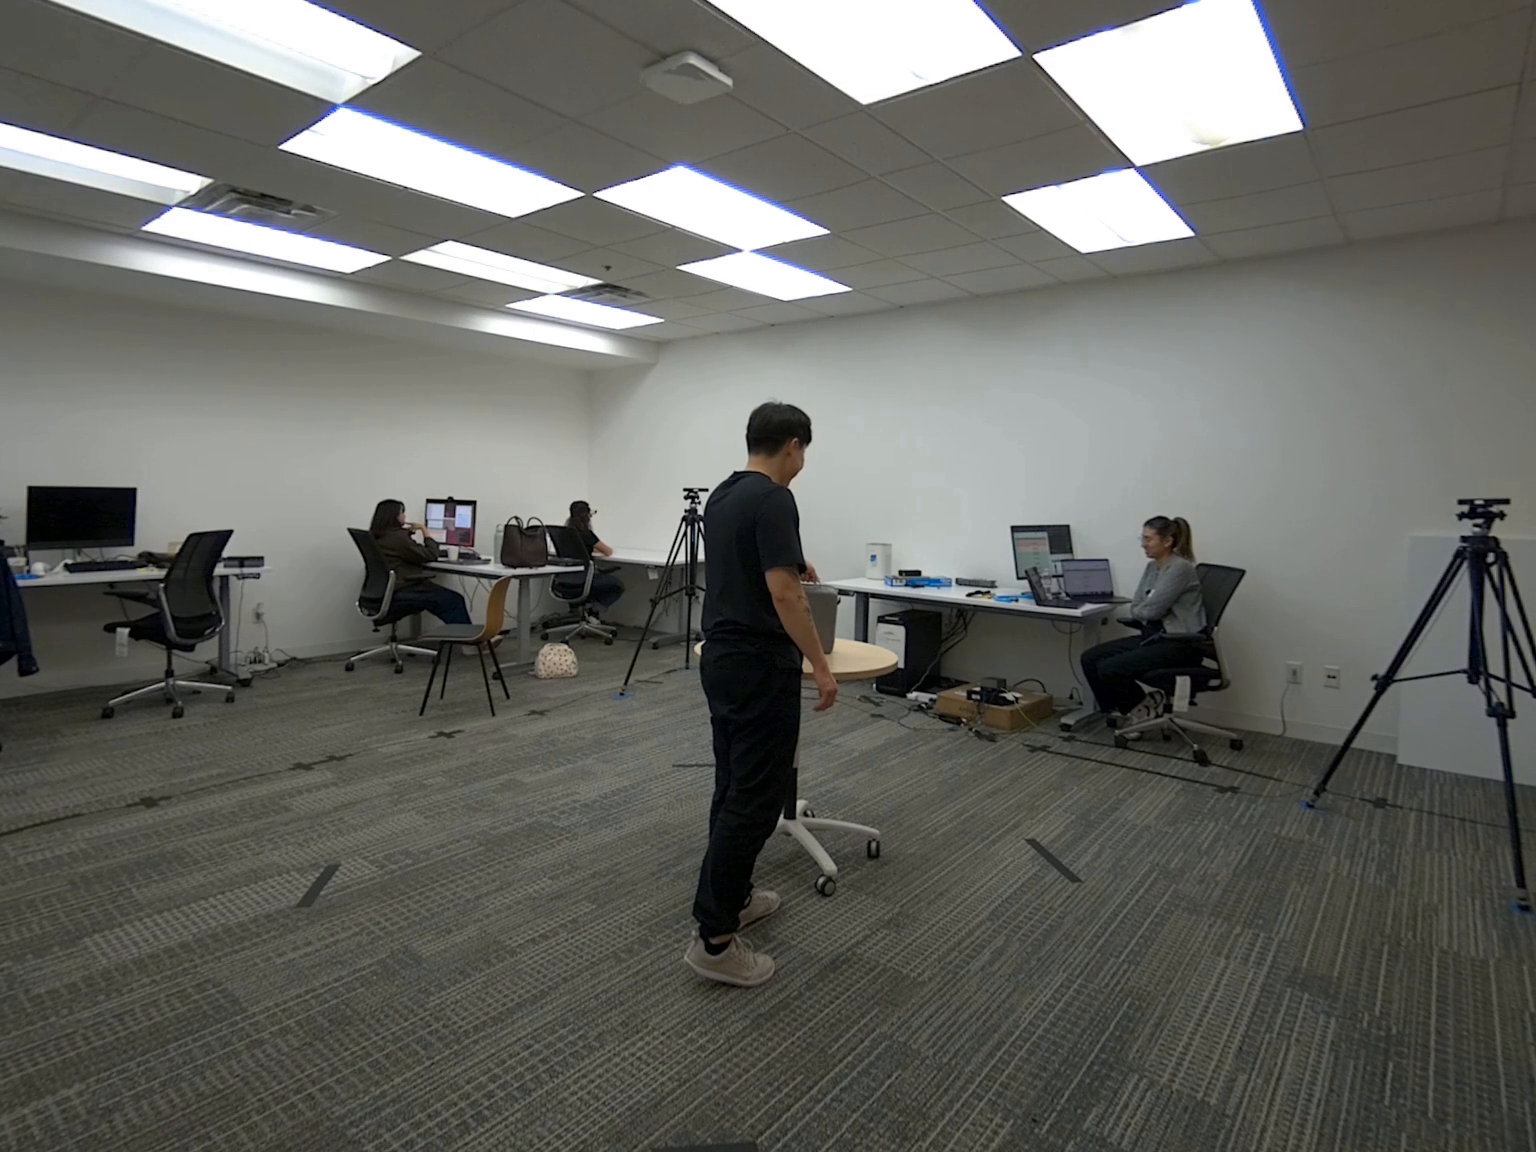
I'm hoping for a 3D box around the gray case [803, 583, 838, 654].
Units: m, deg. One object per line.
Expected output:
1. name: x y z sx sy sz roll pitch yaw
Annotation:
1. gray case: 0.125 0.148 3.209 0.257 0.258 0.105 1 10 2
